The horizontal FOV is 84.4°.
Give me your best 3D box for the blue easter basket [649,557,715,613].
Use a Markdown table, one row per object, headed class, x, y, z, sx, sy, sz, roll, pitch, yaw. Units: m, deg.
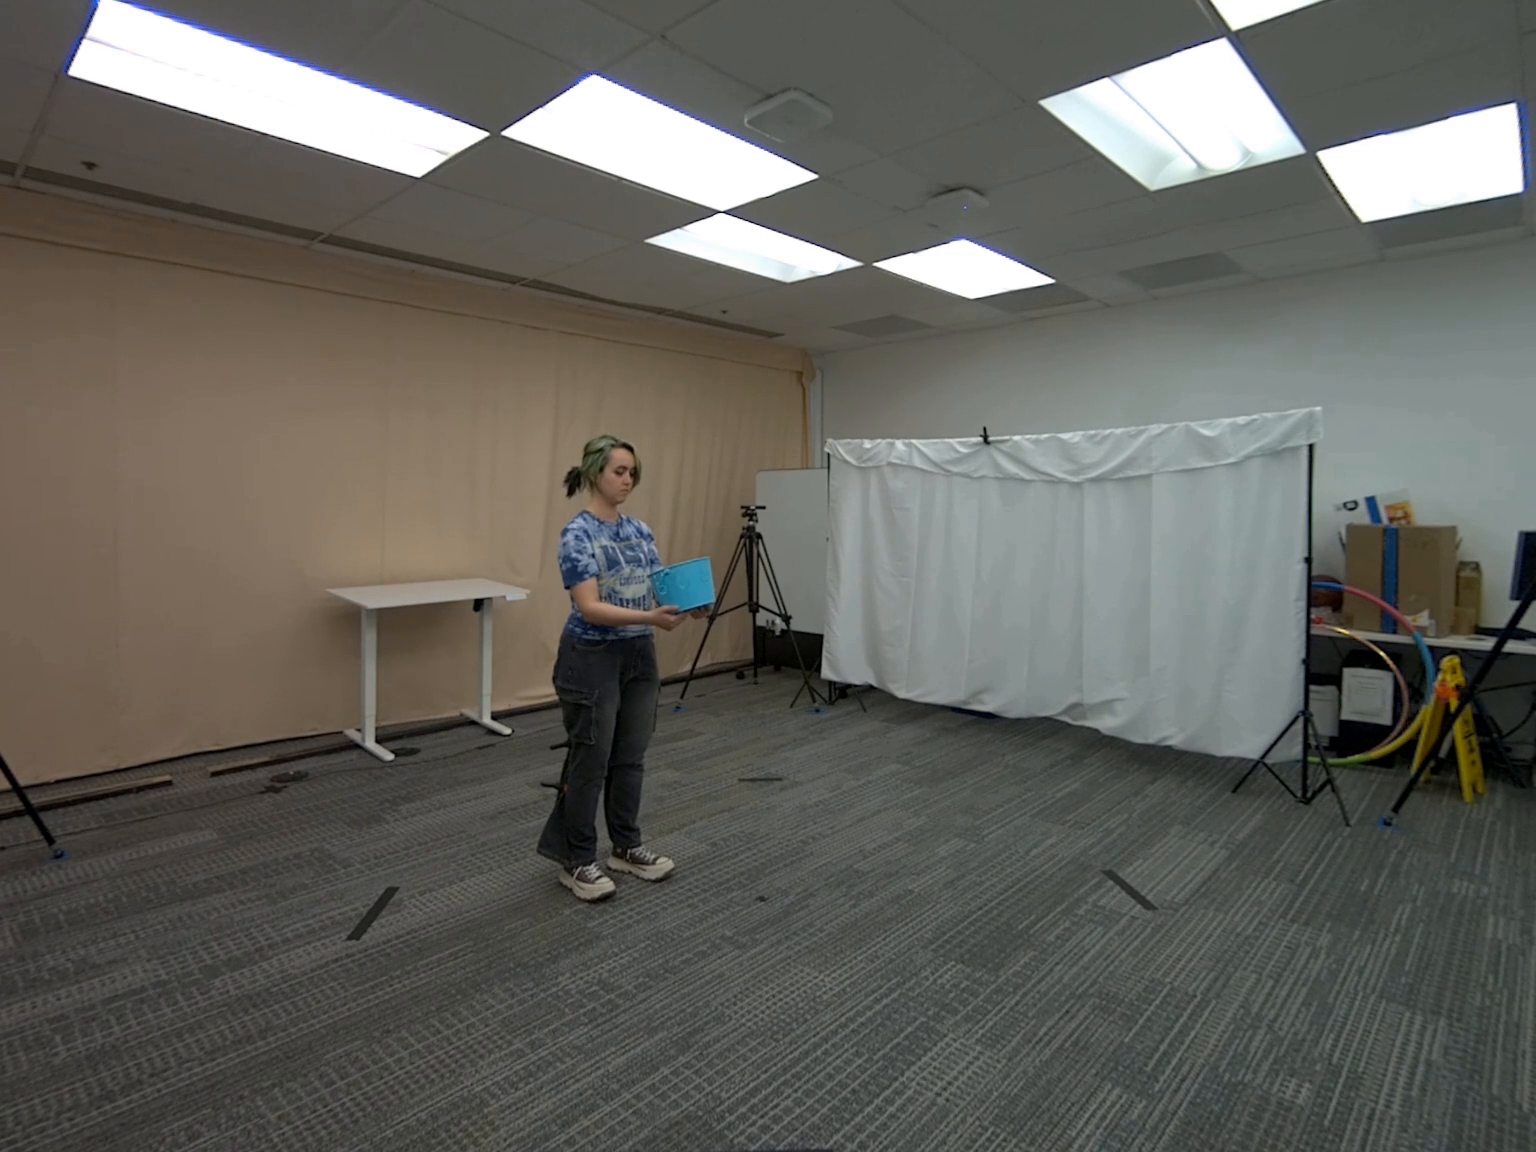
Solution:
| class | x | y | z | sx | sy | sz | roll | pitch | yaw |
| --- | --- | --- | --- | --- | --- | --- | --- | --- | --- |
| blue easter basket | -0.284 | 0.042 | 2.912 | 0.243 | 0.156 | 0.244 | -14 | 0 | -2 |
